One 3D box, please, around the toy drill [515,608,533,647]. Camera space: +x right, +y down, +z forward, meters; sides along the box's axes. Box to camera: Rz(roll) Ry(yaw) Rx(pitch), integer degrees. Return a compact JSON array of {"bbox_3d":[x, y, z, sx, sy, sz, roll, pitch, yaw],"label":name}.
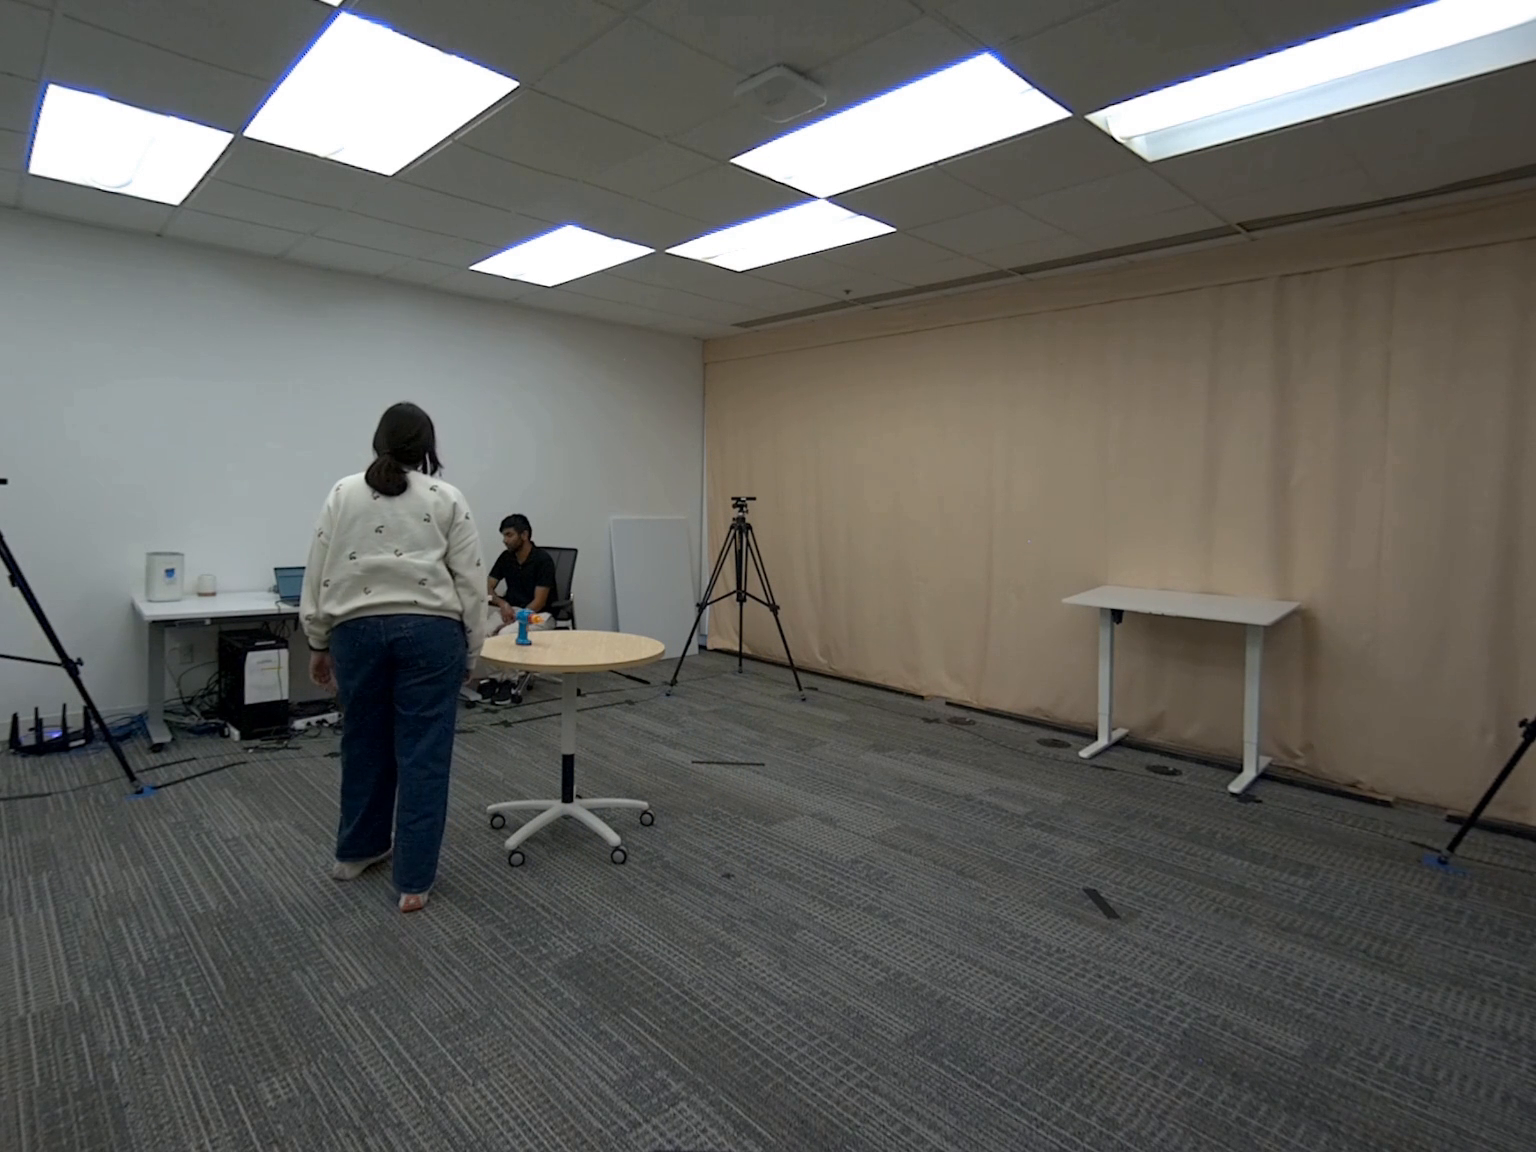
[{"bbox_3d":[-0.970,0.209,3.373,0.173,0.145,0.060,4,6,31],"label":"toy drill"}]
